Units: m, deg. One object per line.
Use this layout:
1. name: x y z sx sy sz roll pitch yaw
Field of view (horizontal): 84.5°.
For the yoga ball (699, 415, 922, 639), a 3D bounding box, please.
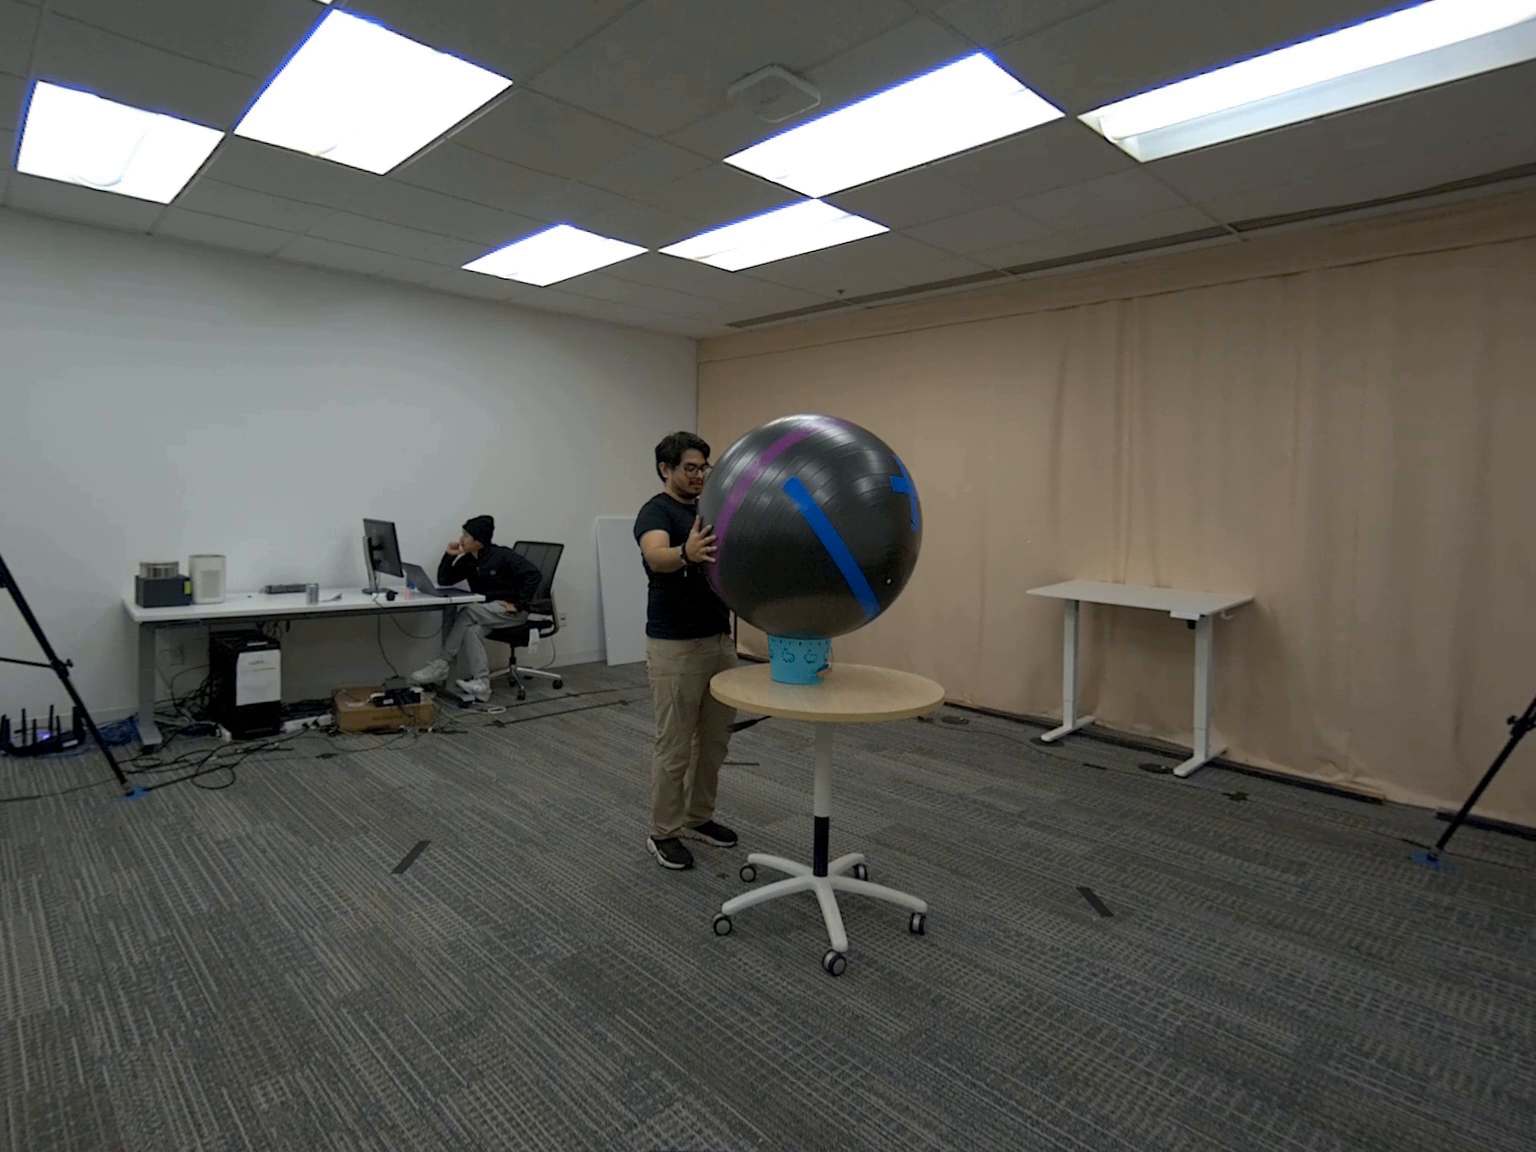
1. yoga ball: 0.130 -0.157 2.836 0.757 0.756 0.761 1 4 -1
